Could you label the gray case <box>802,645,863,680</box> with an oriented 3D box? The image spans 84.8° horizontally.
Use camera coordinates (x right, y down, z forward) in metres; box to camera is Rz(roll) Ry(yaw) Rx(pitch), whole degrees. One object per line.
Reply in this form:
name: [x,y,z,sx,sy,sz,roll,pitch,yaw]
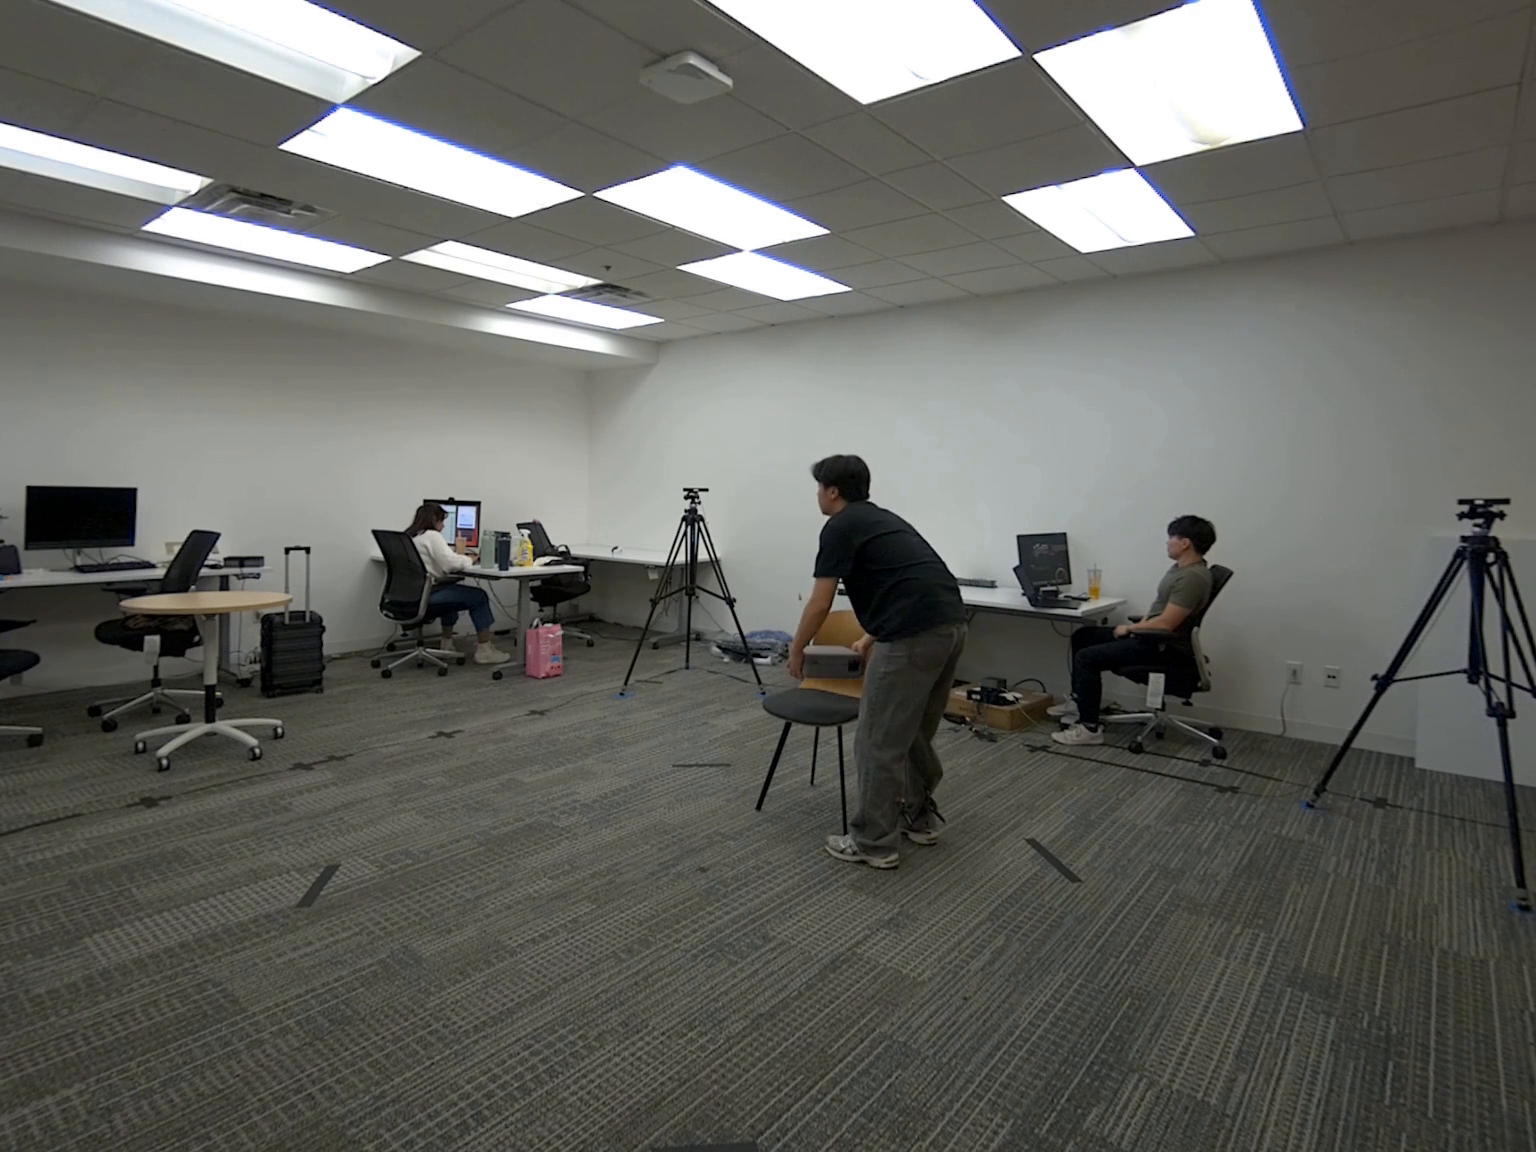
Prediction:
gray case: [0.226,0.349,3.561,0.260,0.103,0.291,2,3,-13]
